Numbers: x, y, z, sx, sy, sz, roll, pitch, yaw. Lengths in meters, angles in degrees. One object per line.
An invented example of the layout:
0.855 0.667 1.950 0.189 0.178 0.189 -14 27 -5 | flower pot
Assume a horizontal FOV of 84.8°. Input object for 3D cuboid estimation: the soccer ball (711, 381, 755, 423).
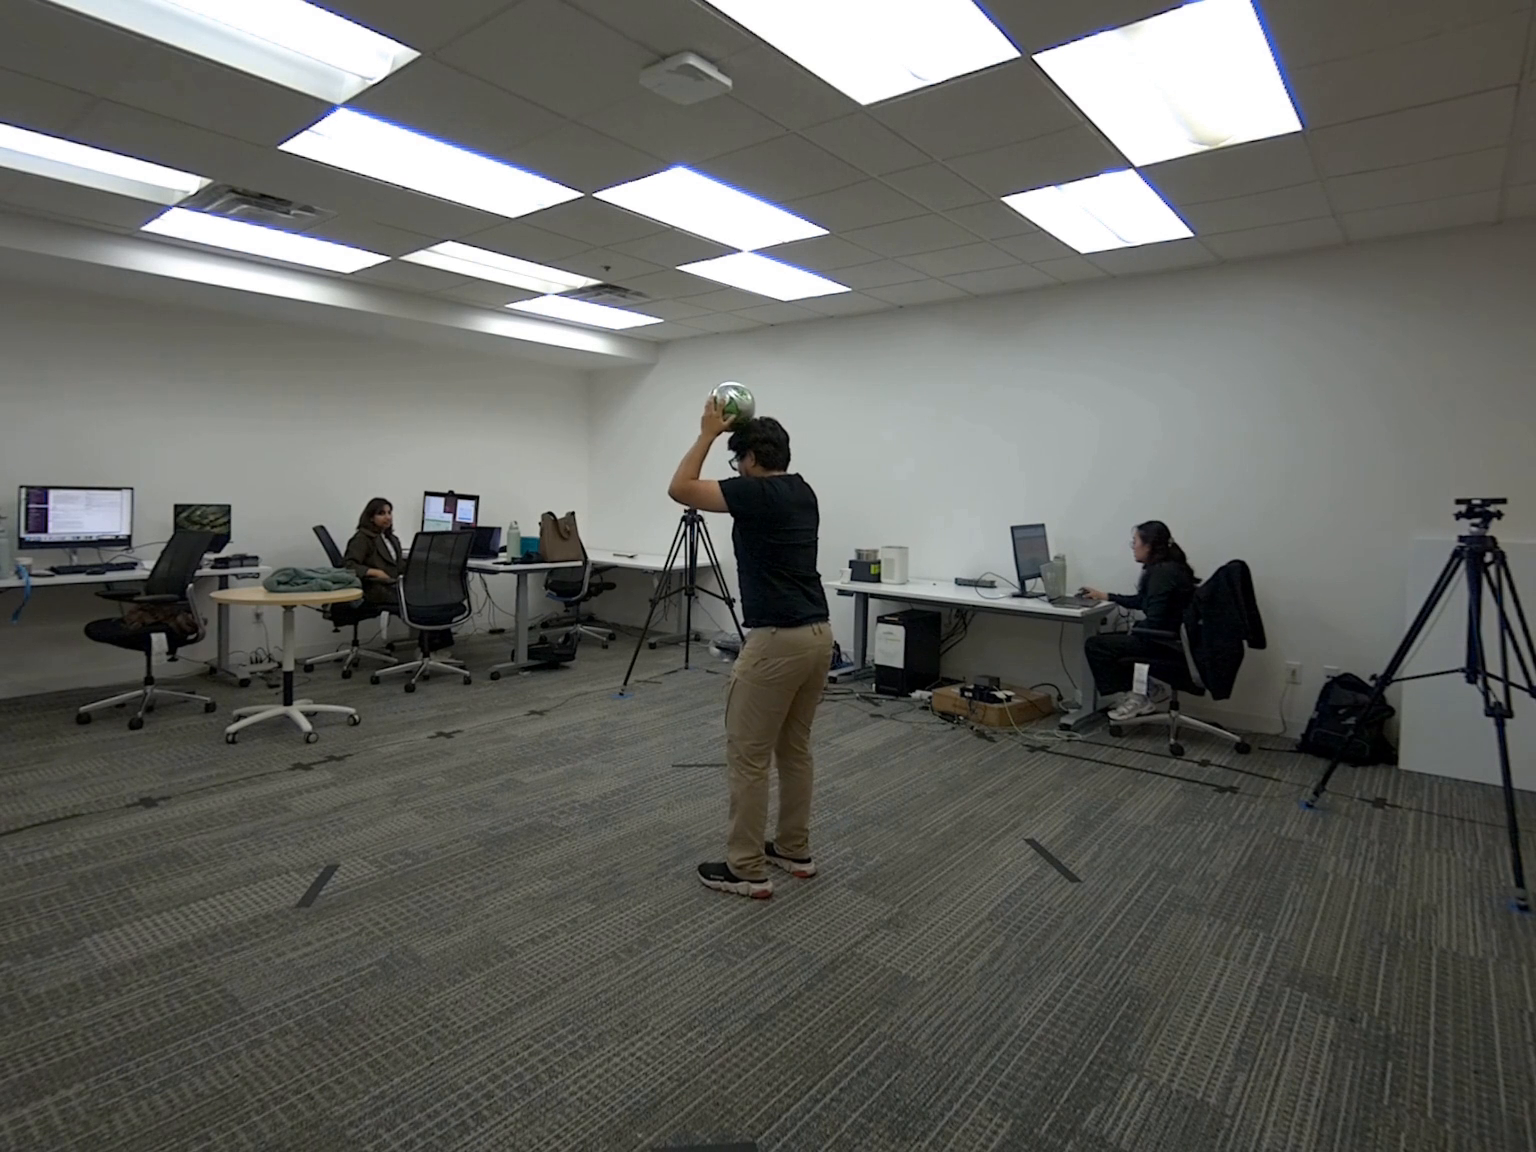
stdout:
-0.153 -0.623 3.171 0.187 0.187 0.188 1 4 -2 | soccer ball
